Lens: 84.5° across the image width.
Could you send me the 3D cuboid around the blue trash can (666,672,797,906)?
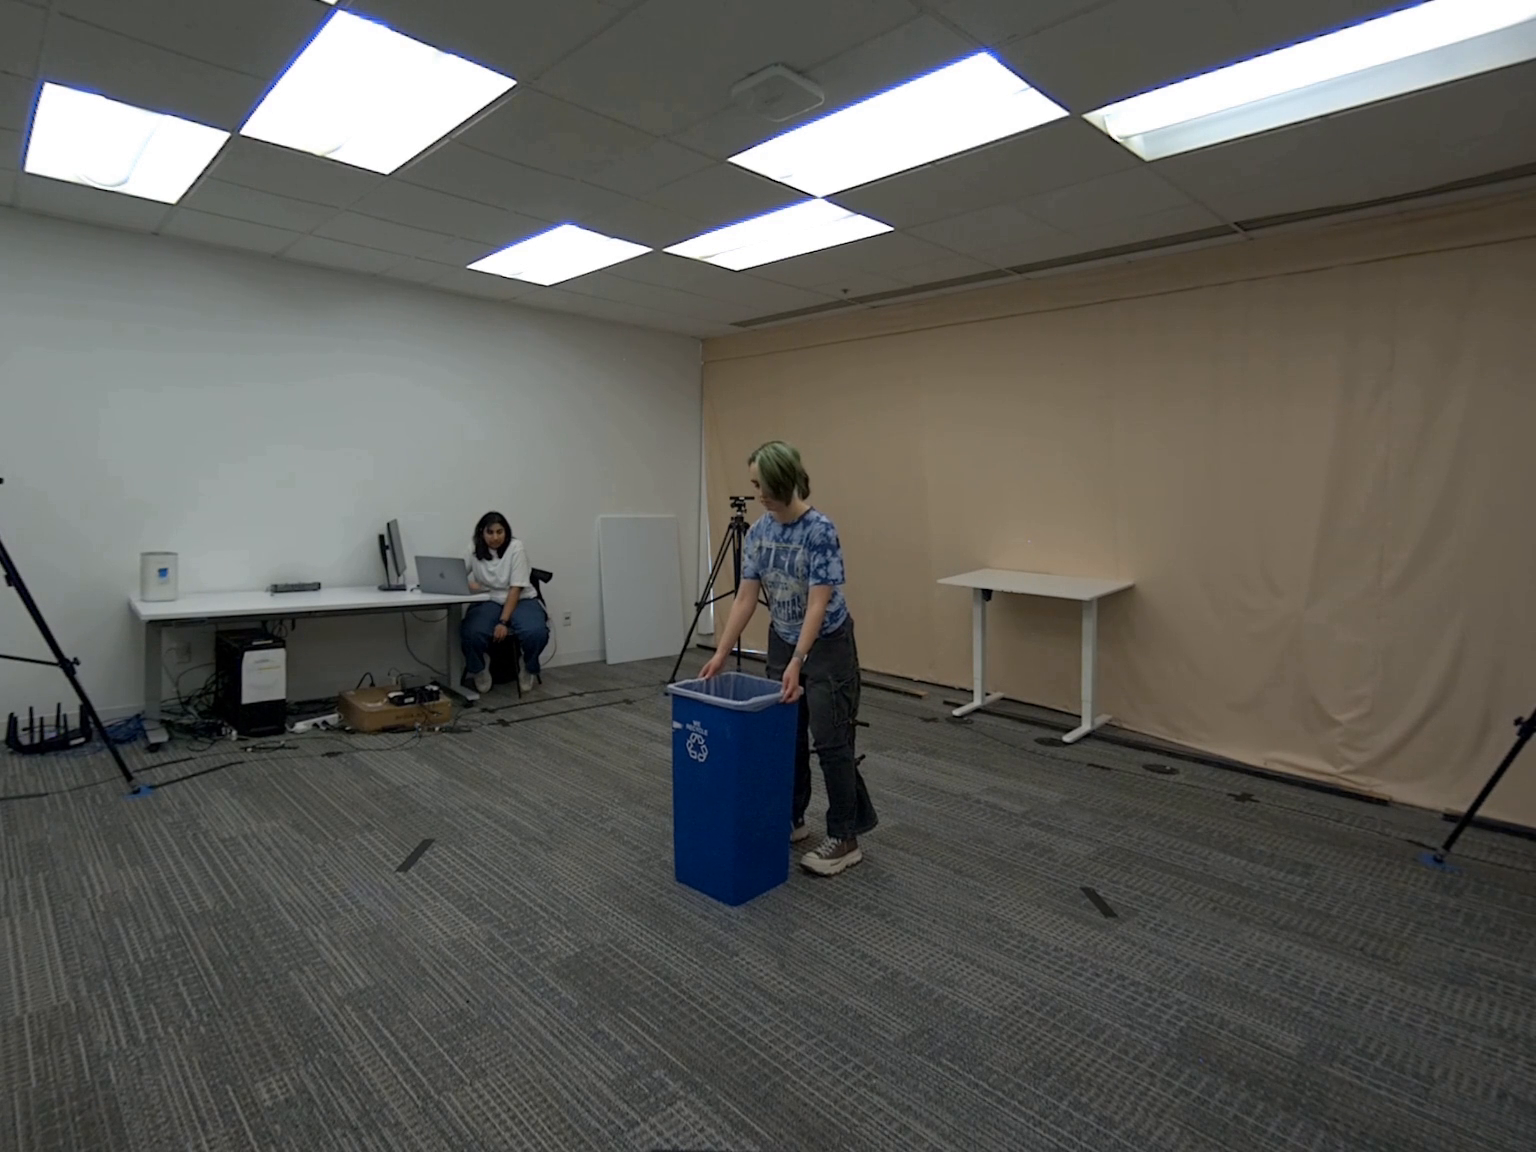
[{"bbox_3d":[-0.132,0.751,3.044,0.383,0.712,0.369,3,4,41],"label":"blue trash can"}]
